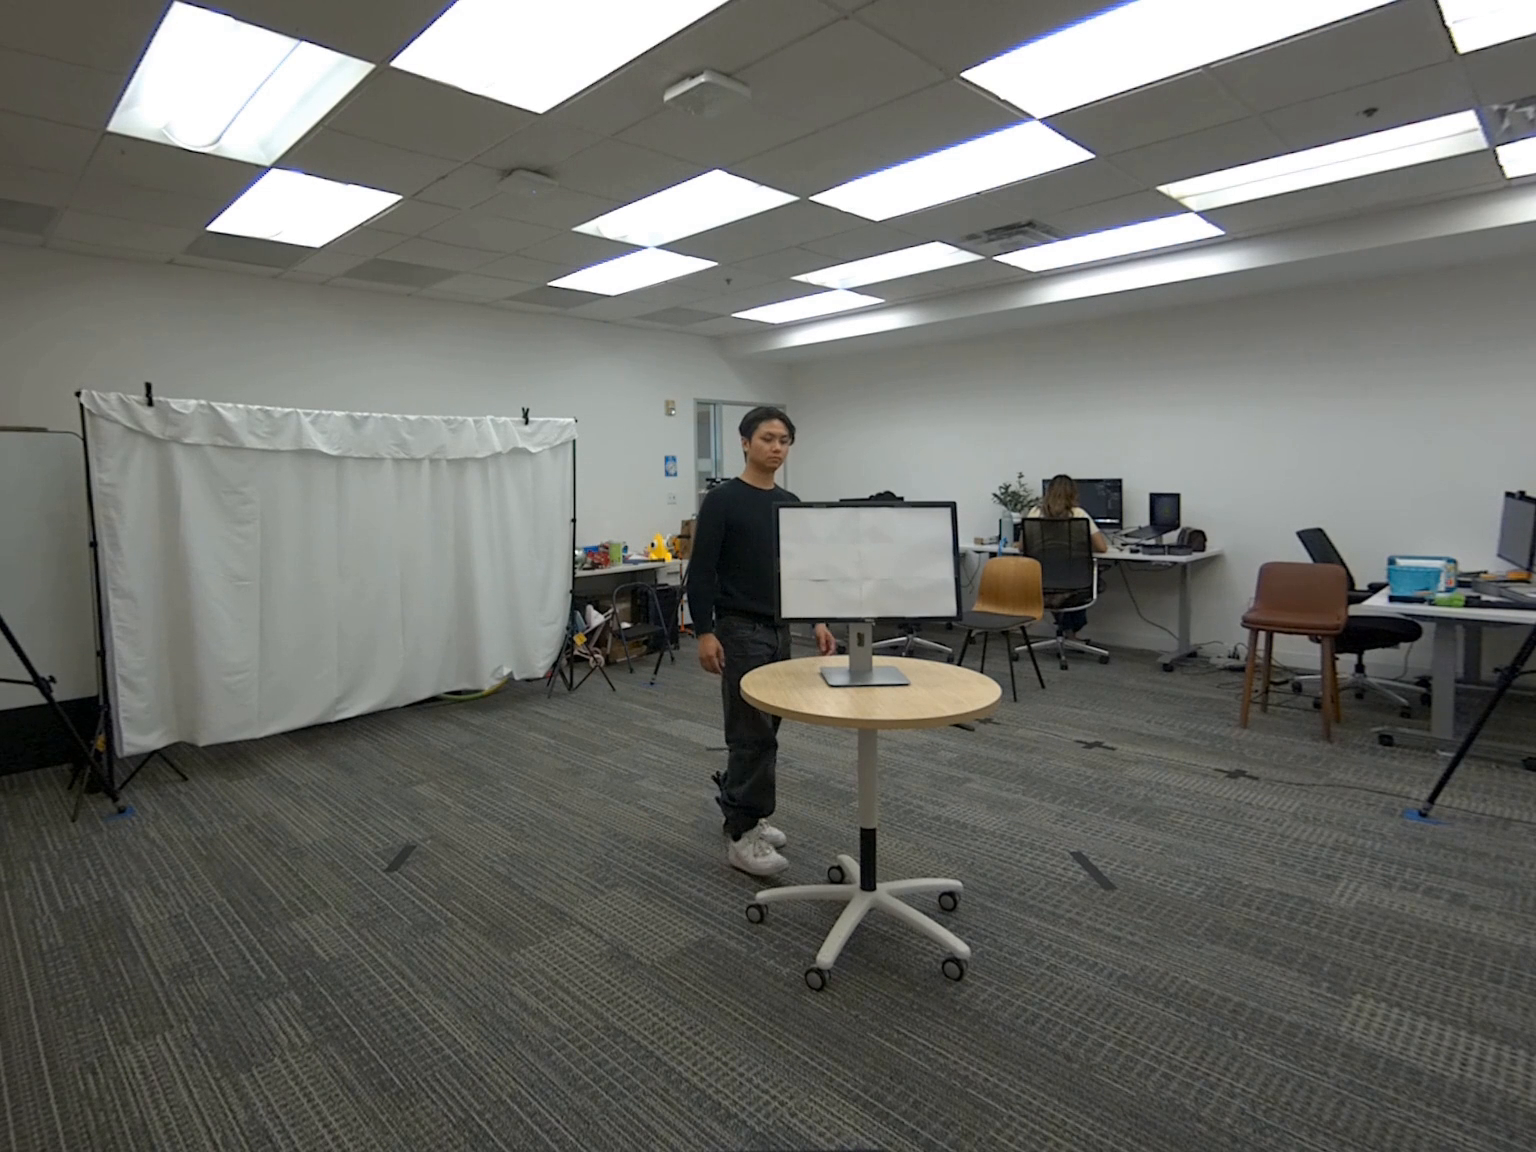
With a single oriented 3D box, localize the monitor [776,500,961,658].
[{"bbox_3d":[0.292,0.050,2.595,0.527,0.512,0.177,0,8,-5],"label":"monitor"}]
